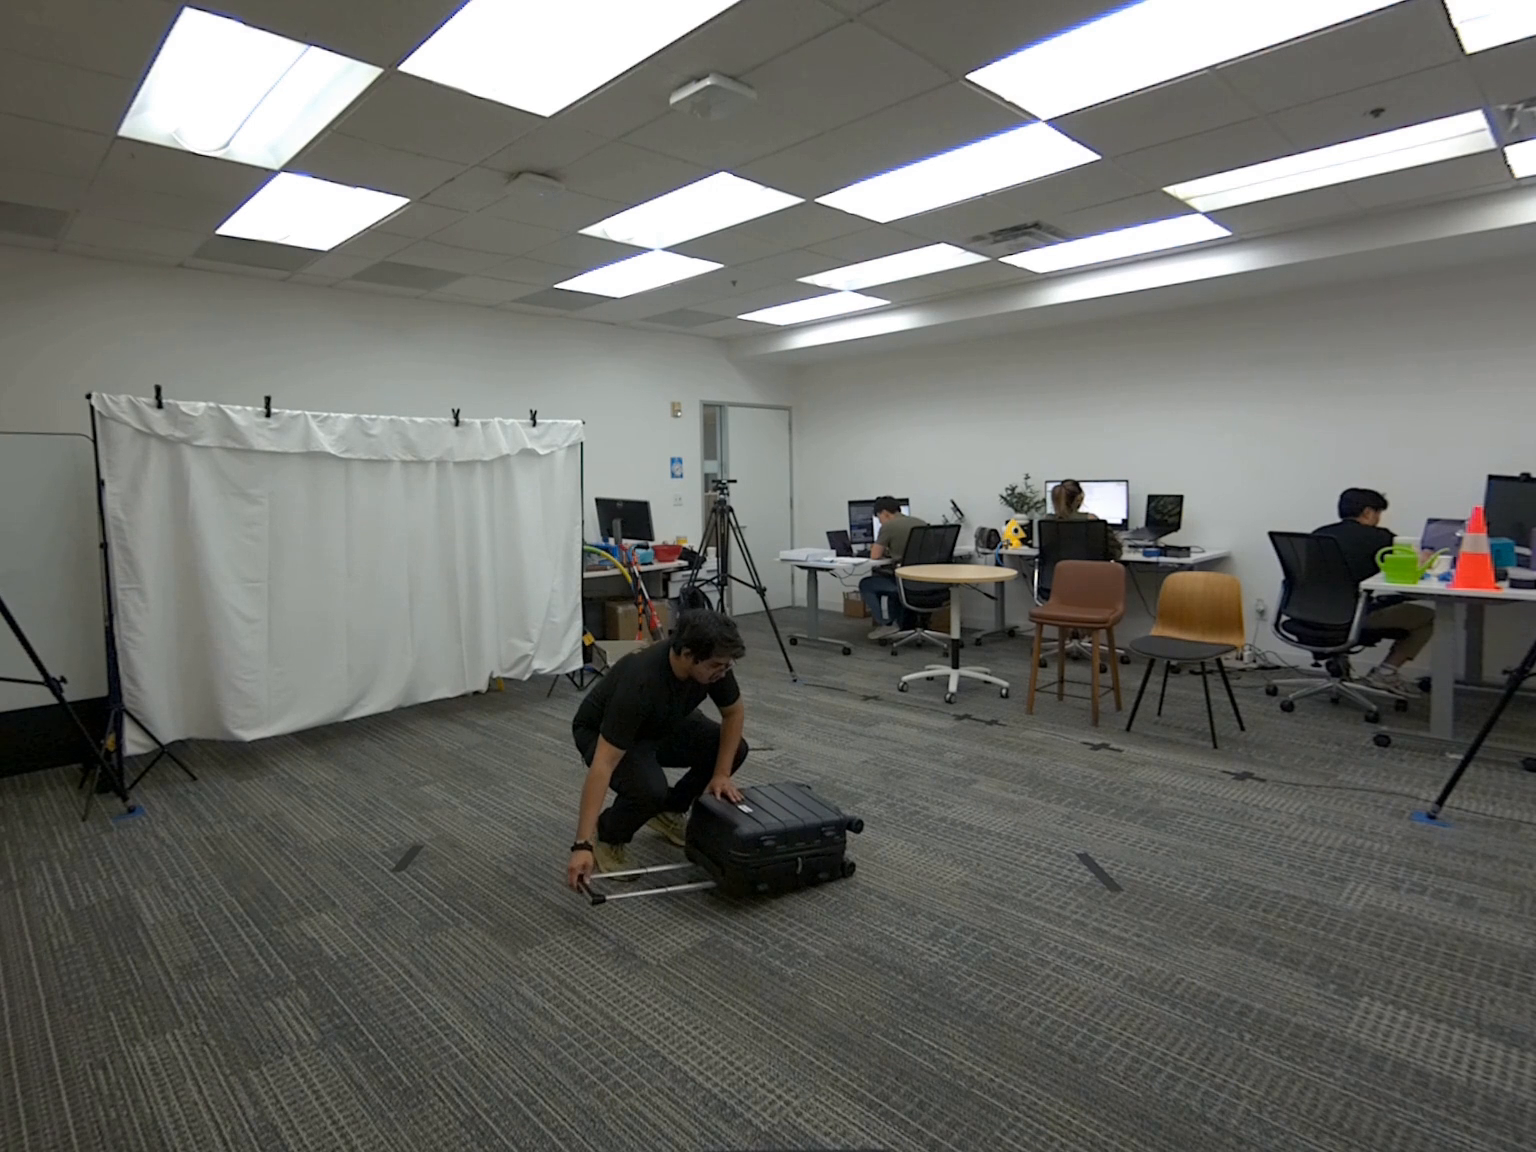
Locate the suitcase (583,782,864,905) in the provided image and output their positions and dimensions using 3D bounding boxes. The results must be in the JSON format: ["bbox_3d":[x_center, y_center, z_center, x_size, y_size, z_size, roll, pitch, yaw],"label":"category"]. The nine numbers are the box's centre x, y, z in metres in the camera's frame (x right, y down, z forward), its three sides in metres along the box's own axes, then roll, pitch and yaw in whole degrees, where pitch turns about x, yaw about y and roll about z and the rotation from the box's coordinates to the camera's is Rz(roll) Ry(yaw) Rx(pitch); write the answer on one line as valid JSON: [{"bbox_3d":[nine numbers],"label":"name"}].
[{"bbox_3d":[-0.151,0.887,2.862,0.950,0.256,0.397,6,7,-35],"label":"suitcase"}]
